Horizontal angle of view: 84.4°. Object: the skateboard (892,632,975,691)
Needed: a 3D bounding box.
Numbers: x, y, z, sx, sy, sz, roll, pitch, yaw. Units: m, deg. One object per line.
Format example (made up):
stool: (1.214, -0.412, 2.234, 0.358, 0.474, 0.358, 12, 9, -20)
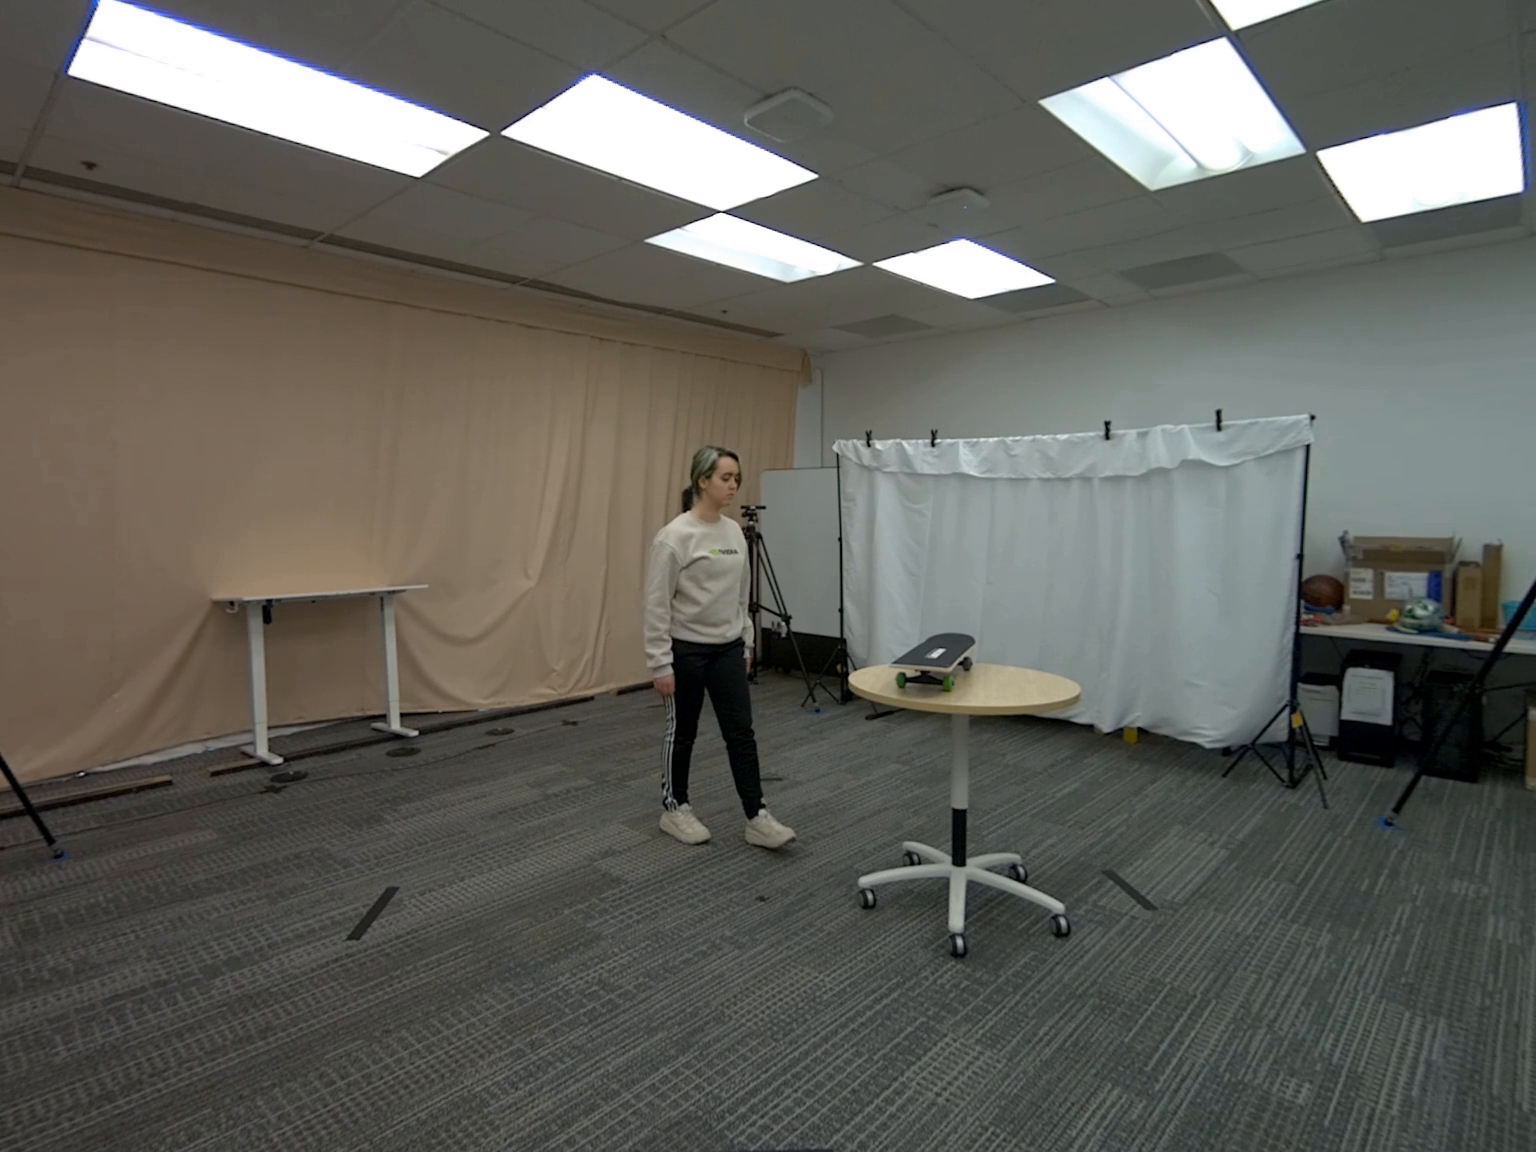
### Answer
skateboard: (0.606, 0.313, 2.953, 0.198, 0.110, 0.768, 2, 5, 23)
